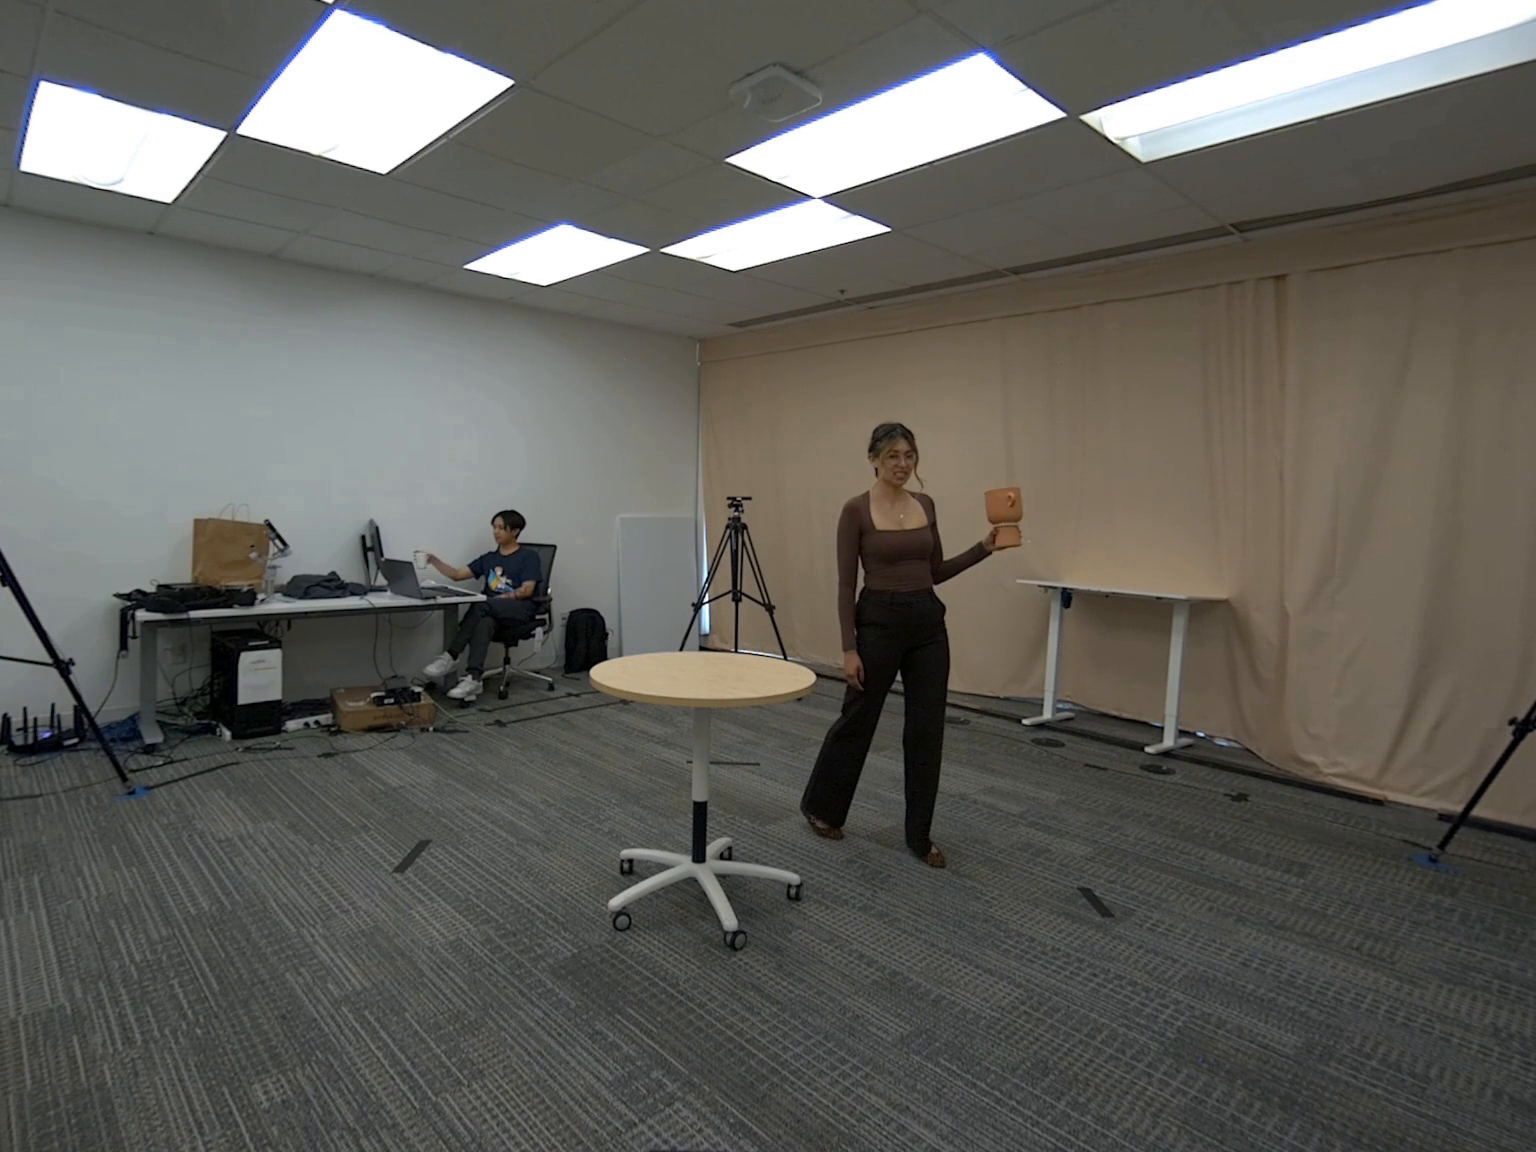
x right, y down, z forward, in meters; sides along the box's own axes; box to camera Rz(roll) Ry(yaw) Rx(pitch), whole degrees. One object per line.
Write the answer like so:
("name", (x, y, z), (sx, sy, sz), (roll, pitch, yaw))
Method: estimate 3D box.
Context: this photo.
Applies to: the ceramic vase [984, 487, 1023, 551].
("ceramic vase", (0.890, -0.223, 3.224), (0.137, 0.220, 0.155), (-7, -4, 33))
